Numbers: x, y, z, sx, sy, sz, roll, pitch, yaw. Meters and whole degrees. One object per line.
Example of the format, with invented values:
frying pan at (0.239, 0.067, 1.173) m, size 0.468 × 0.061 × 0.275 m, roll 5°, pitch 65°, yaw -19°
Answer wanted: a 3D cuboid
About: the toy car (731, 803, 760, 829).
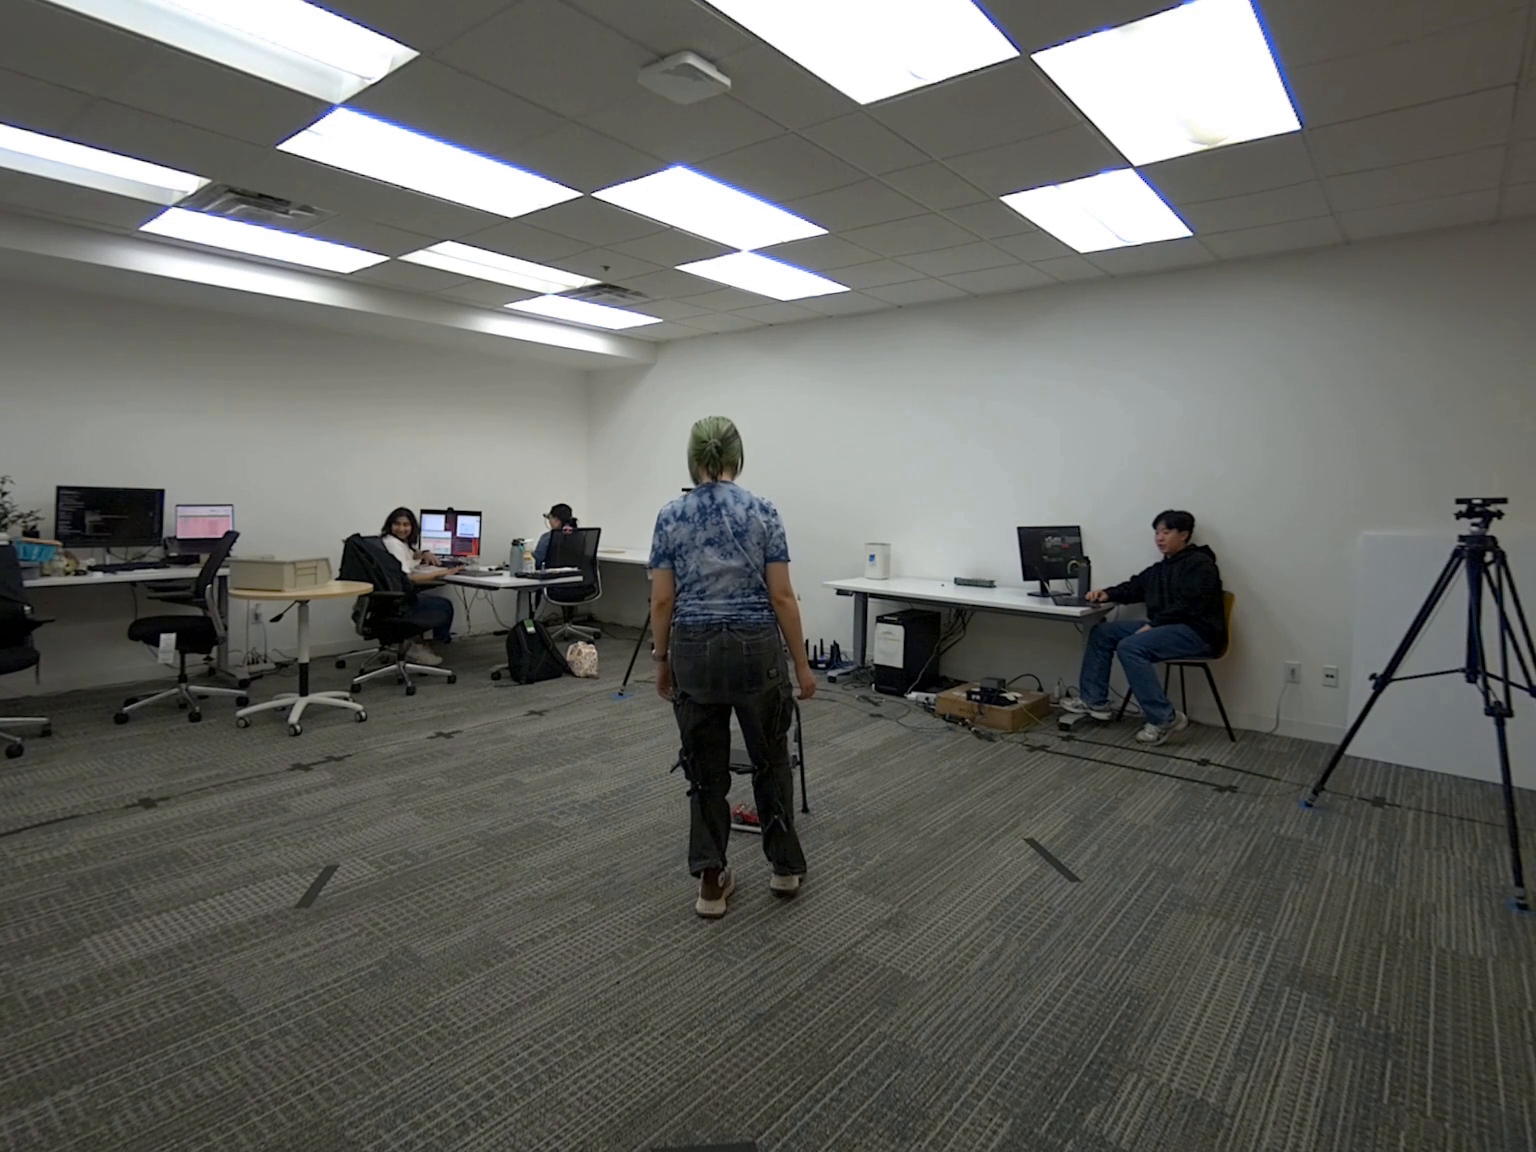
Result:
toy car at (-0.030, 0.995, 3.557) m, size 0.258 × 0.083 × 0.128 m, roll -8°, pitch 1°, yaw 17°
